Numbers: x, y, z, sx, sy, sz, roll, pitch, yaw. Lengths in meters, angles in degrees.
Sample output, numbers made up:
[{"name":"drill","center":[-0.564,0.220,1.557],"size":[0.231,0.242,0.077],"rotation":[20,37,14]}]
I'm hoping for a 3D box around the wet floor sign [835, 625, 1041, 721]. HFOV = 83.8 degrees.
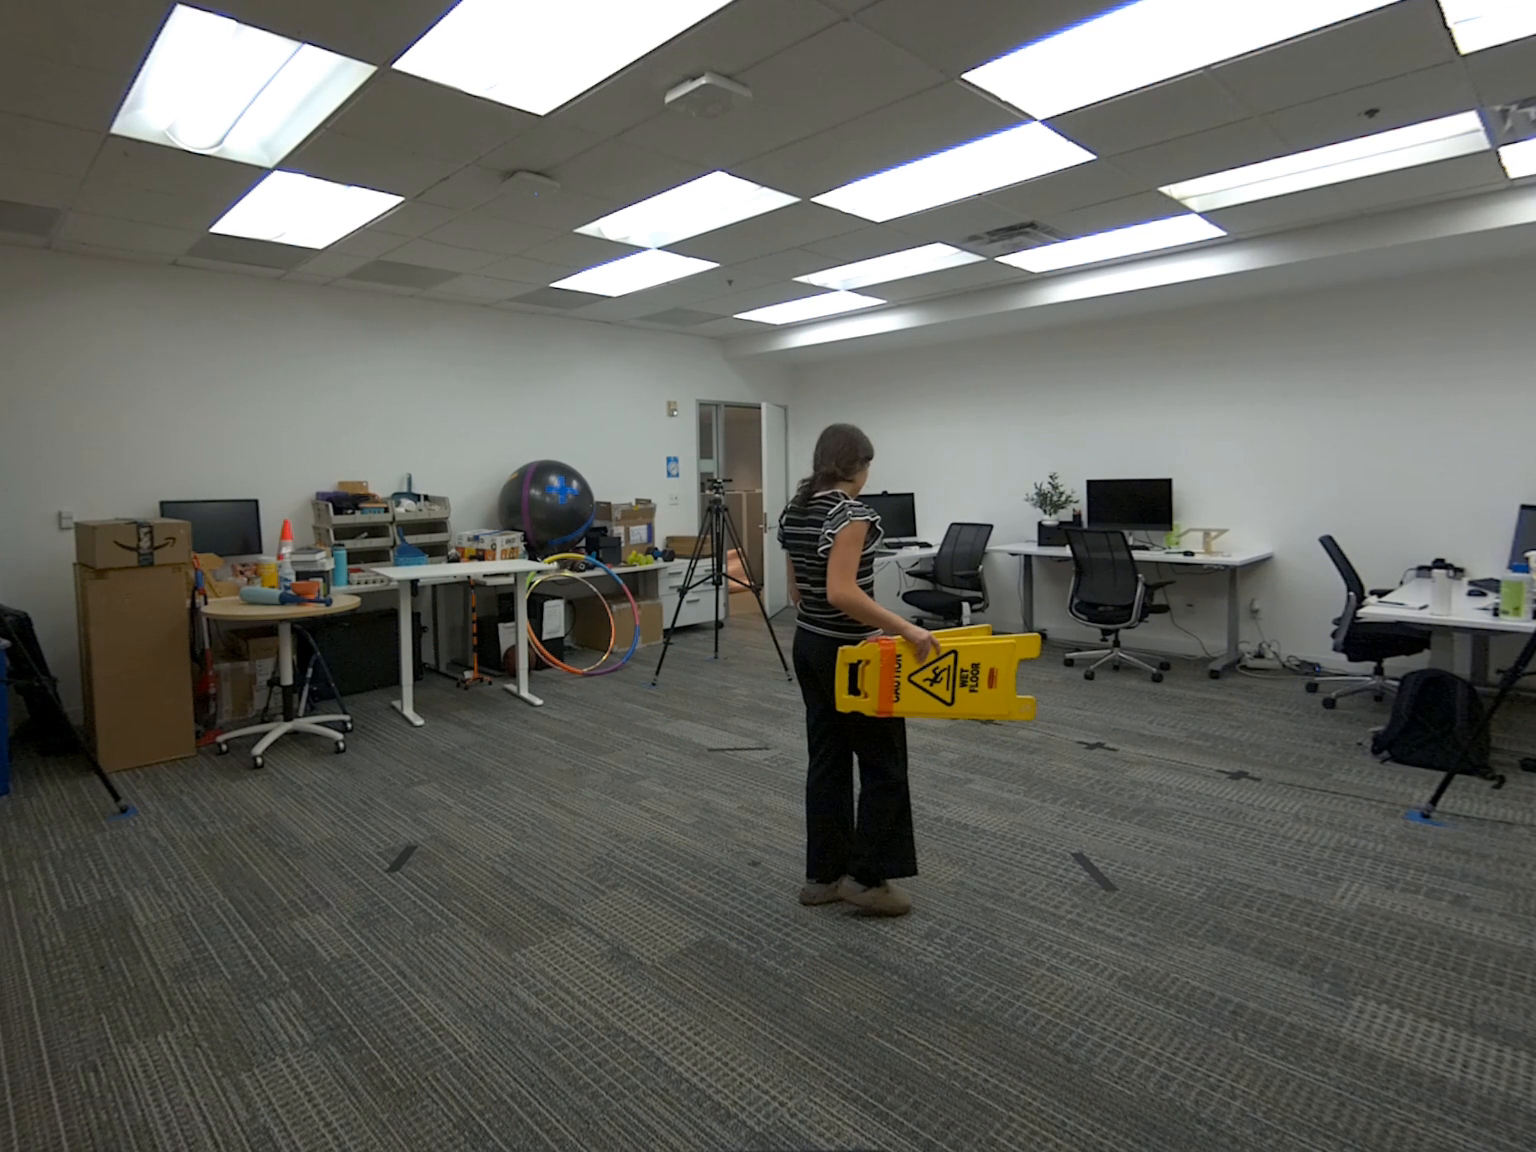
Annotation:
[{"name":"wet floor sign","center":[0.506,0.312,2.684],"size":[0.632,0.281,0.297],"rotation":[0,4,-25]}]
